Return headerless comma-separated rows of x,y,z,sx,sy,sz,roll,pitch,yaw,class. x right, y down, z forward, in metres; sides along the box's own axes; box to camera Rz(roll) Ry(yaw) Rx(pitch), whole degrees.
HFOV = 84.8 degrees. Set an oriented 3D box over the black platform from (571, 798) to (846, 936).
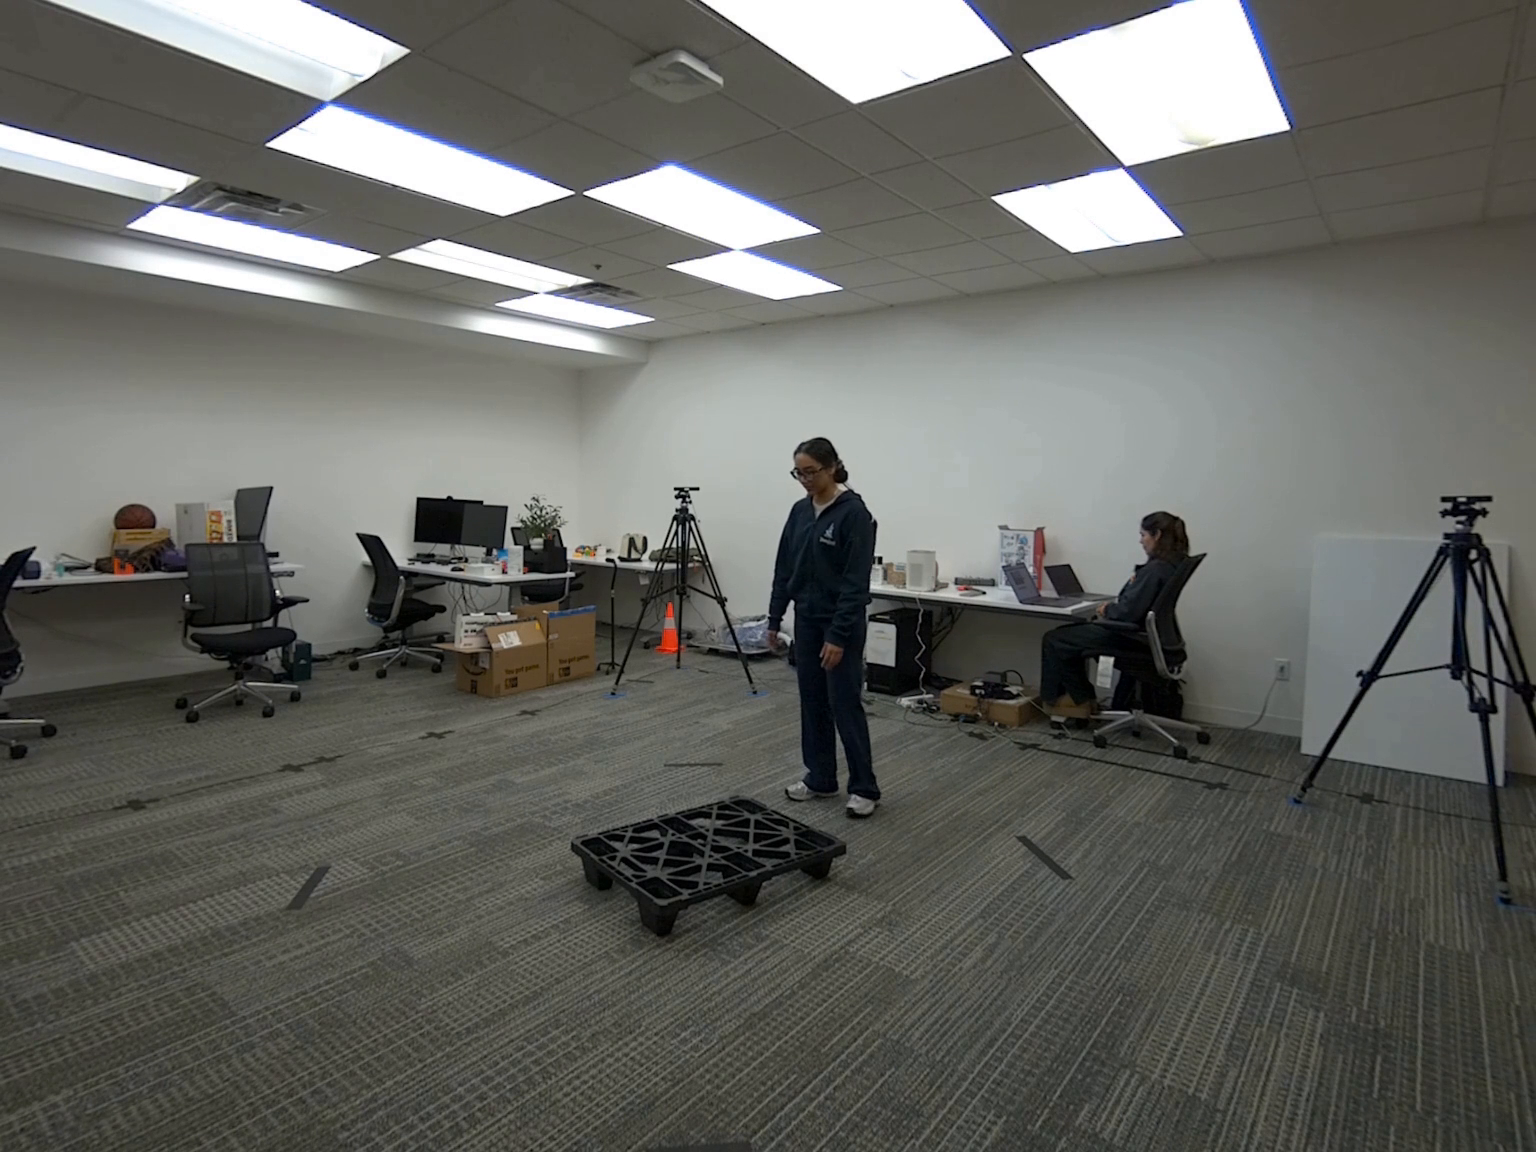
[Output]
-0.217,1.008,3.028,0.782,0.143,0.626,-4,8,-39,black platform
